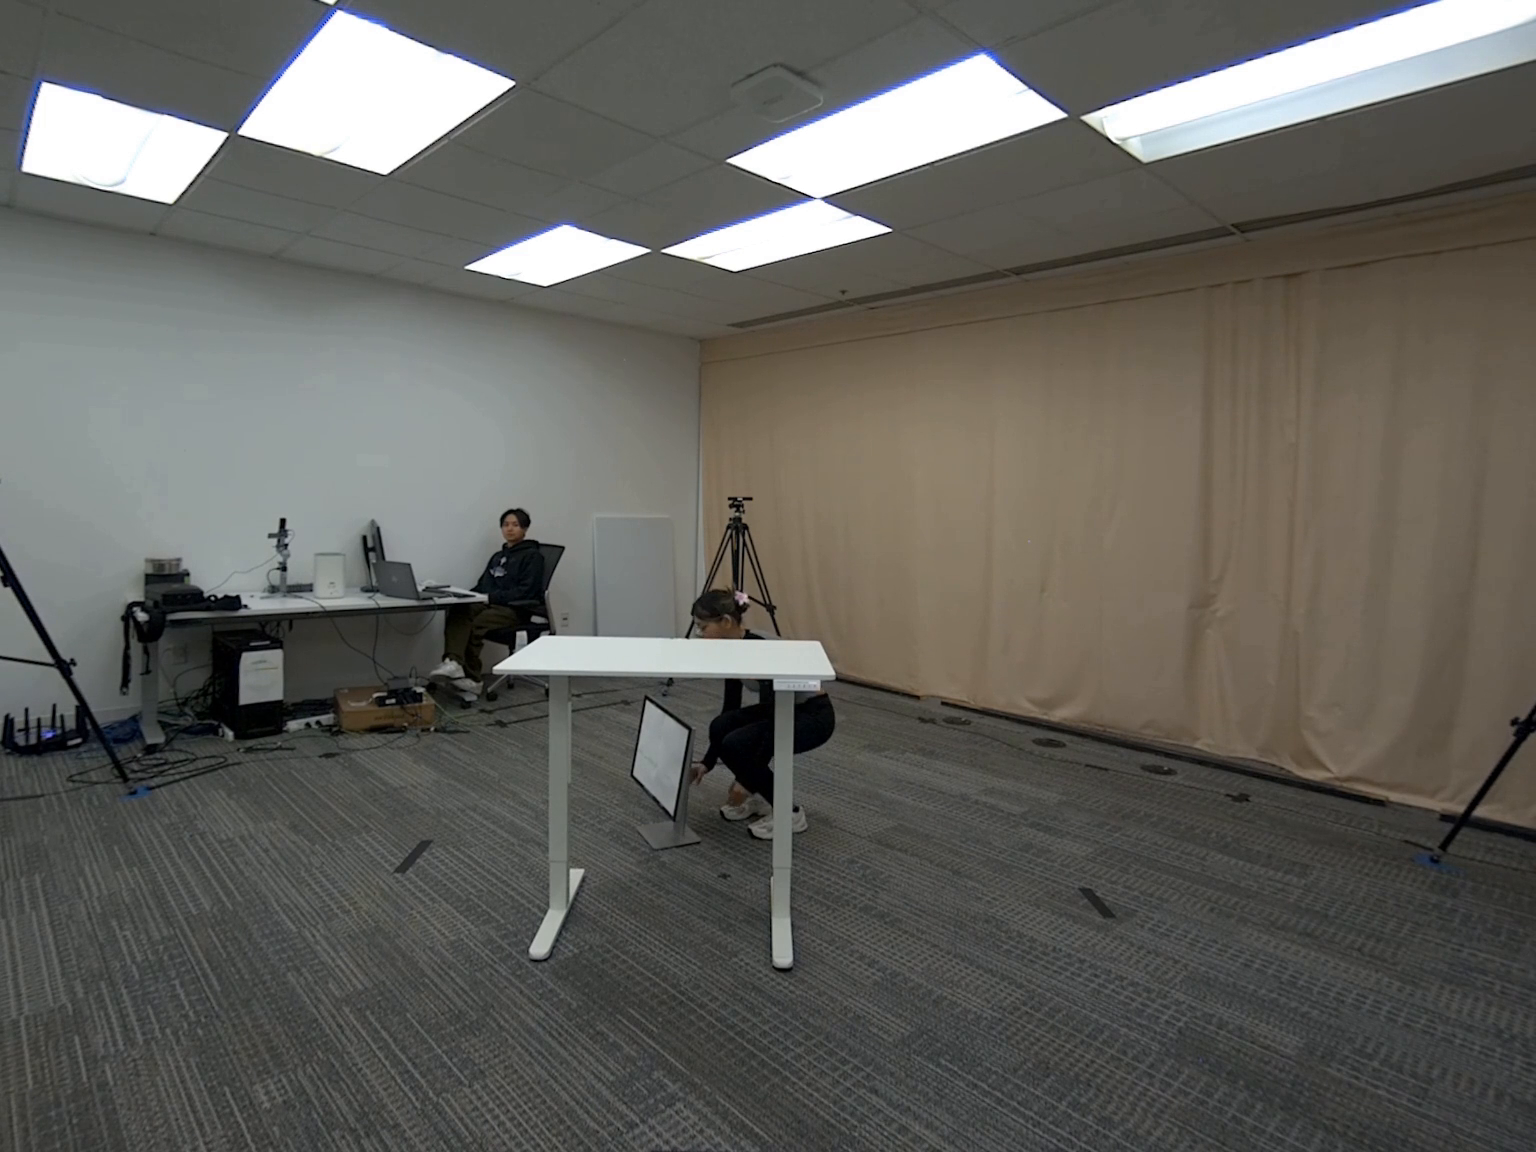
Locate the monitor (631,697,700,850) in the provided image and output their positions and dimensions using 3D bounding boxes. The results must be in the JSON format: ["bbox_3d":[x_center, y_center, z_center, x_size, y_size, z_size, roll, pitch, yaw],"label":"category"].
[{"bbox_3d":[-0.414,0.808,3.455,0.184,0.521,0.550,-3,5,-28],"label":"monitor"}]
